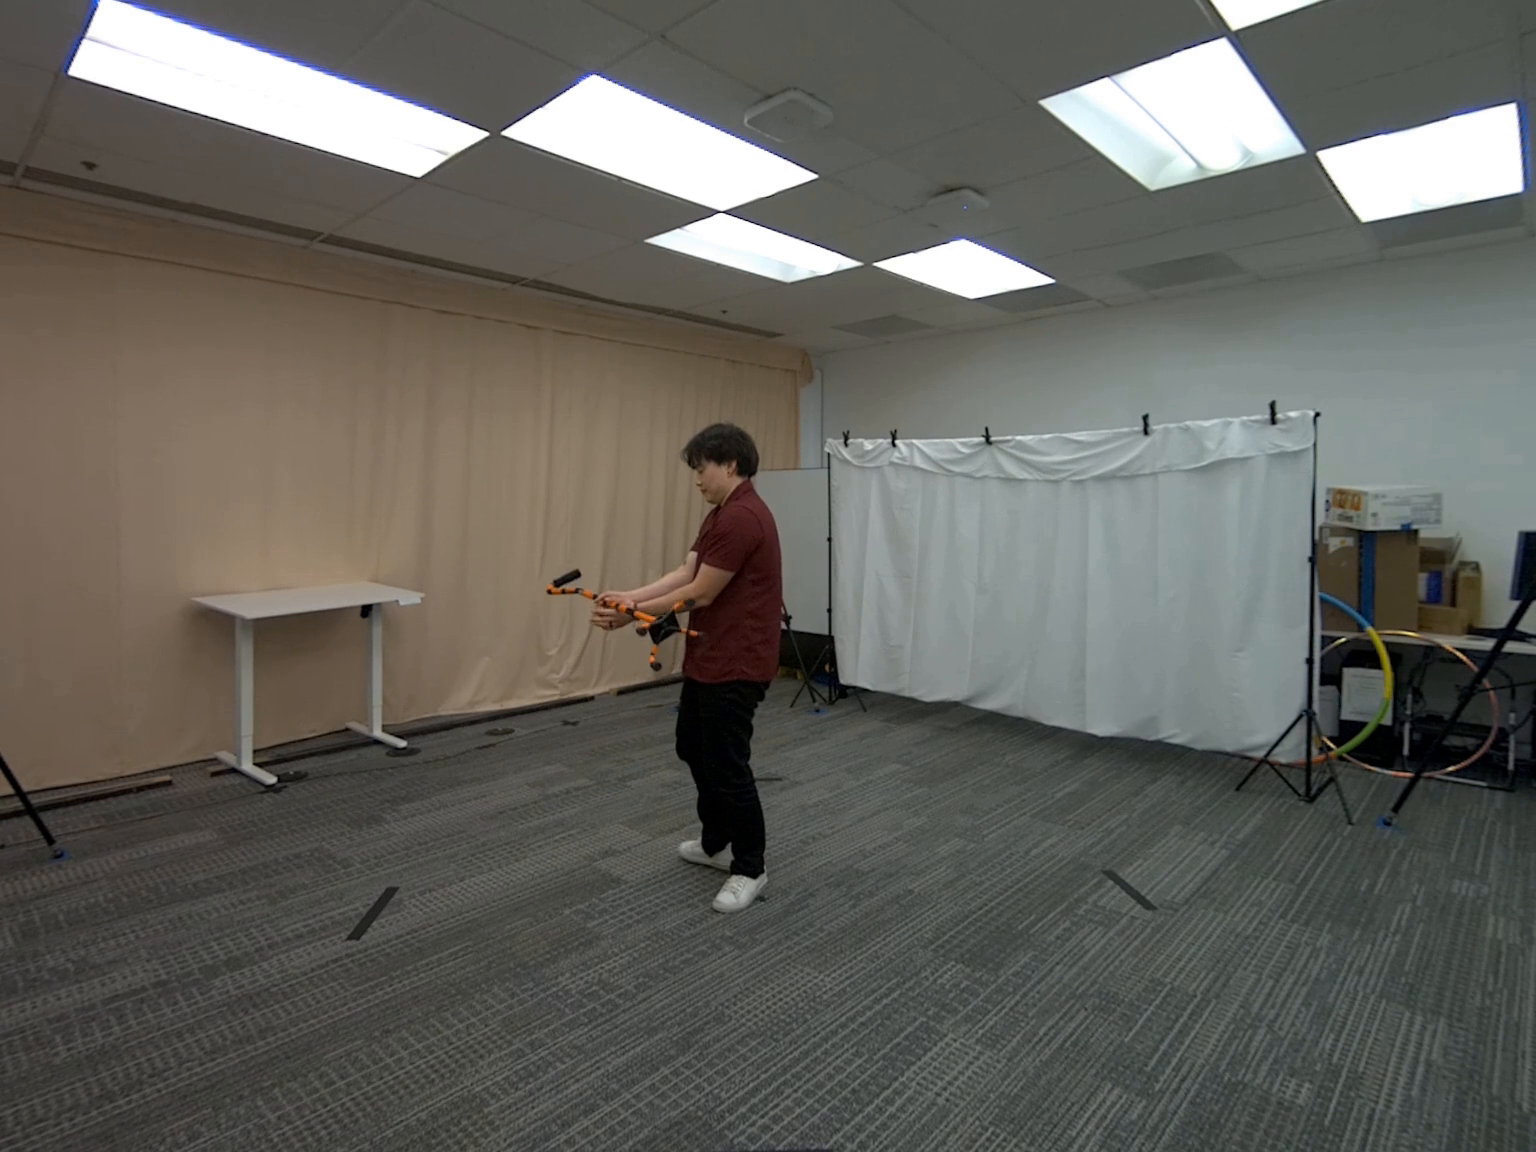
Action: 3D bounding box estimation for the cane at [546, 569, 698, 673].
[{"bbox_3d":[-0.553,0.109,2.887,0.203,0.148,0.939,-32,25,-26],"label":"cane"}]
